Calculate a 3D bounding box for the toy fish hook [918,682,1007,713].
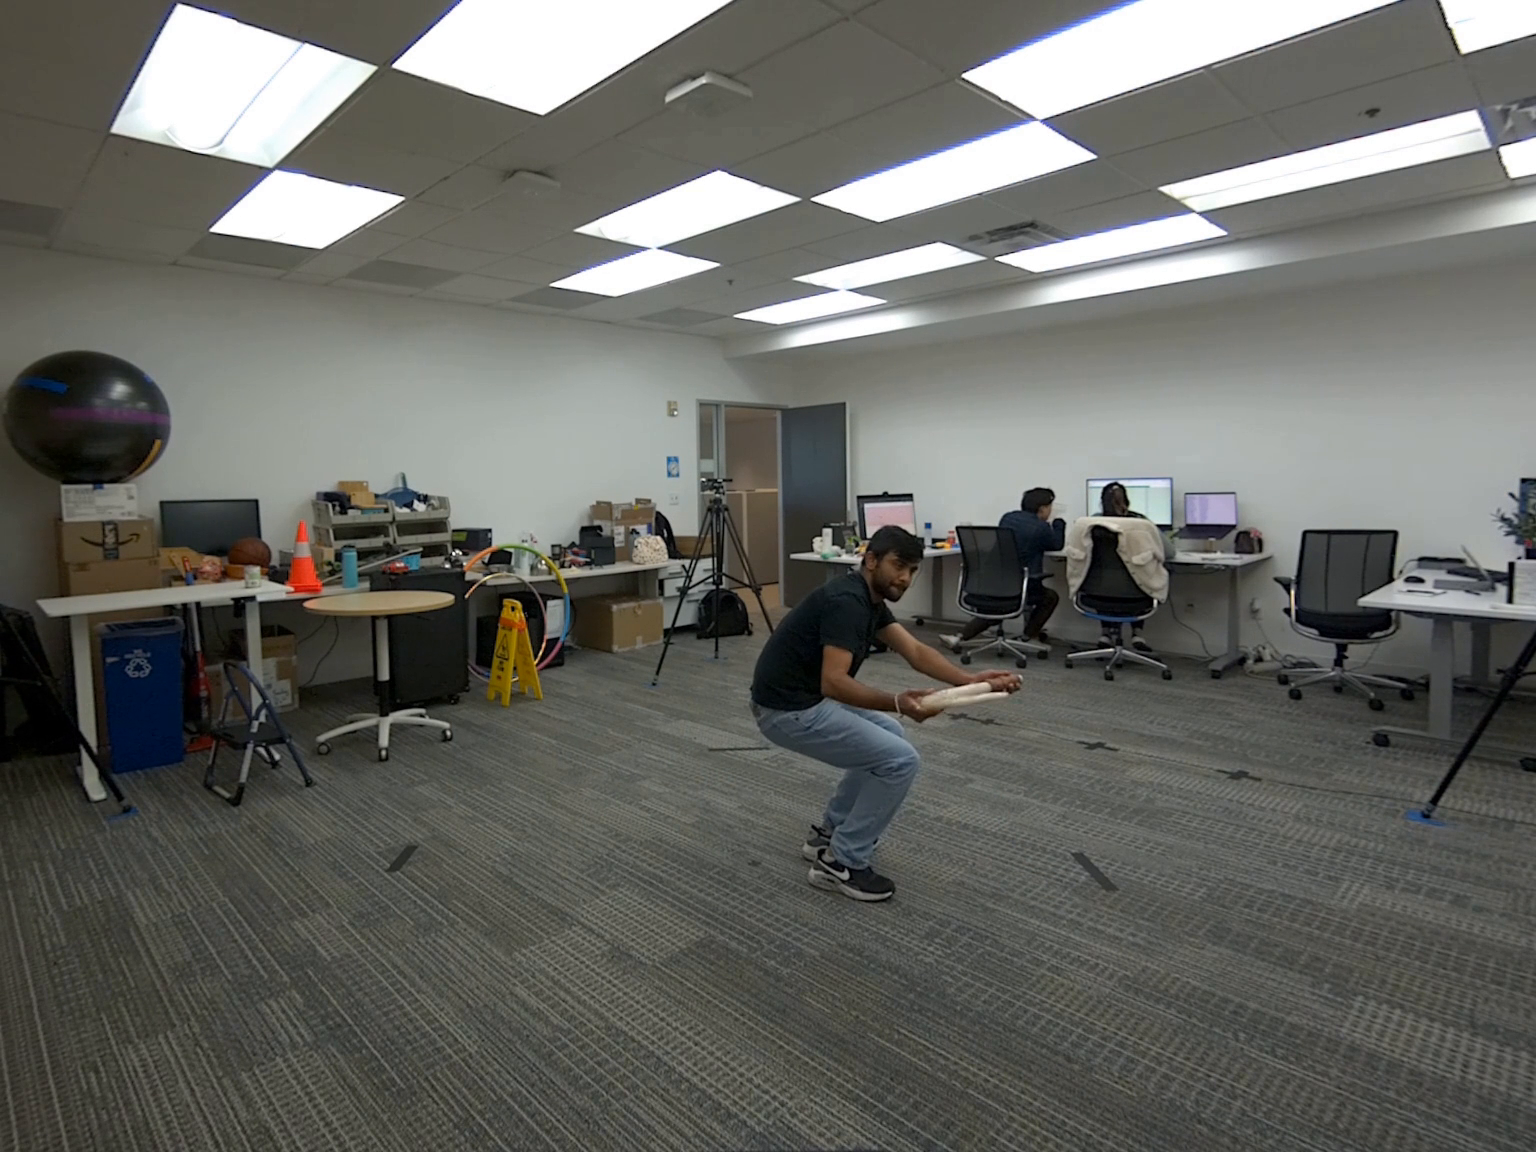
[{"bbox_3d":[0.653,0.340,2.519,0.493,0.048,0.230,-6,0,-41],"label":"toy fish hook"}]
